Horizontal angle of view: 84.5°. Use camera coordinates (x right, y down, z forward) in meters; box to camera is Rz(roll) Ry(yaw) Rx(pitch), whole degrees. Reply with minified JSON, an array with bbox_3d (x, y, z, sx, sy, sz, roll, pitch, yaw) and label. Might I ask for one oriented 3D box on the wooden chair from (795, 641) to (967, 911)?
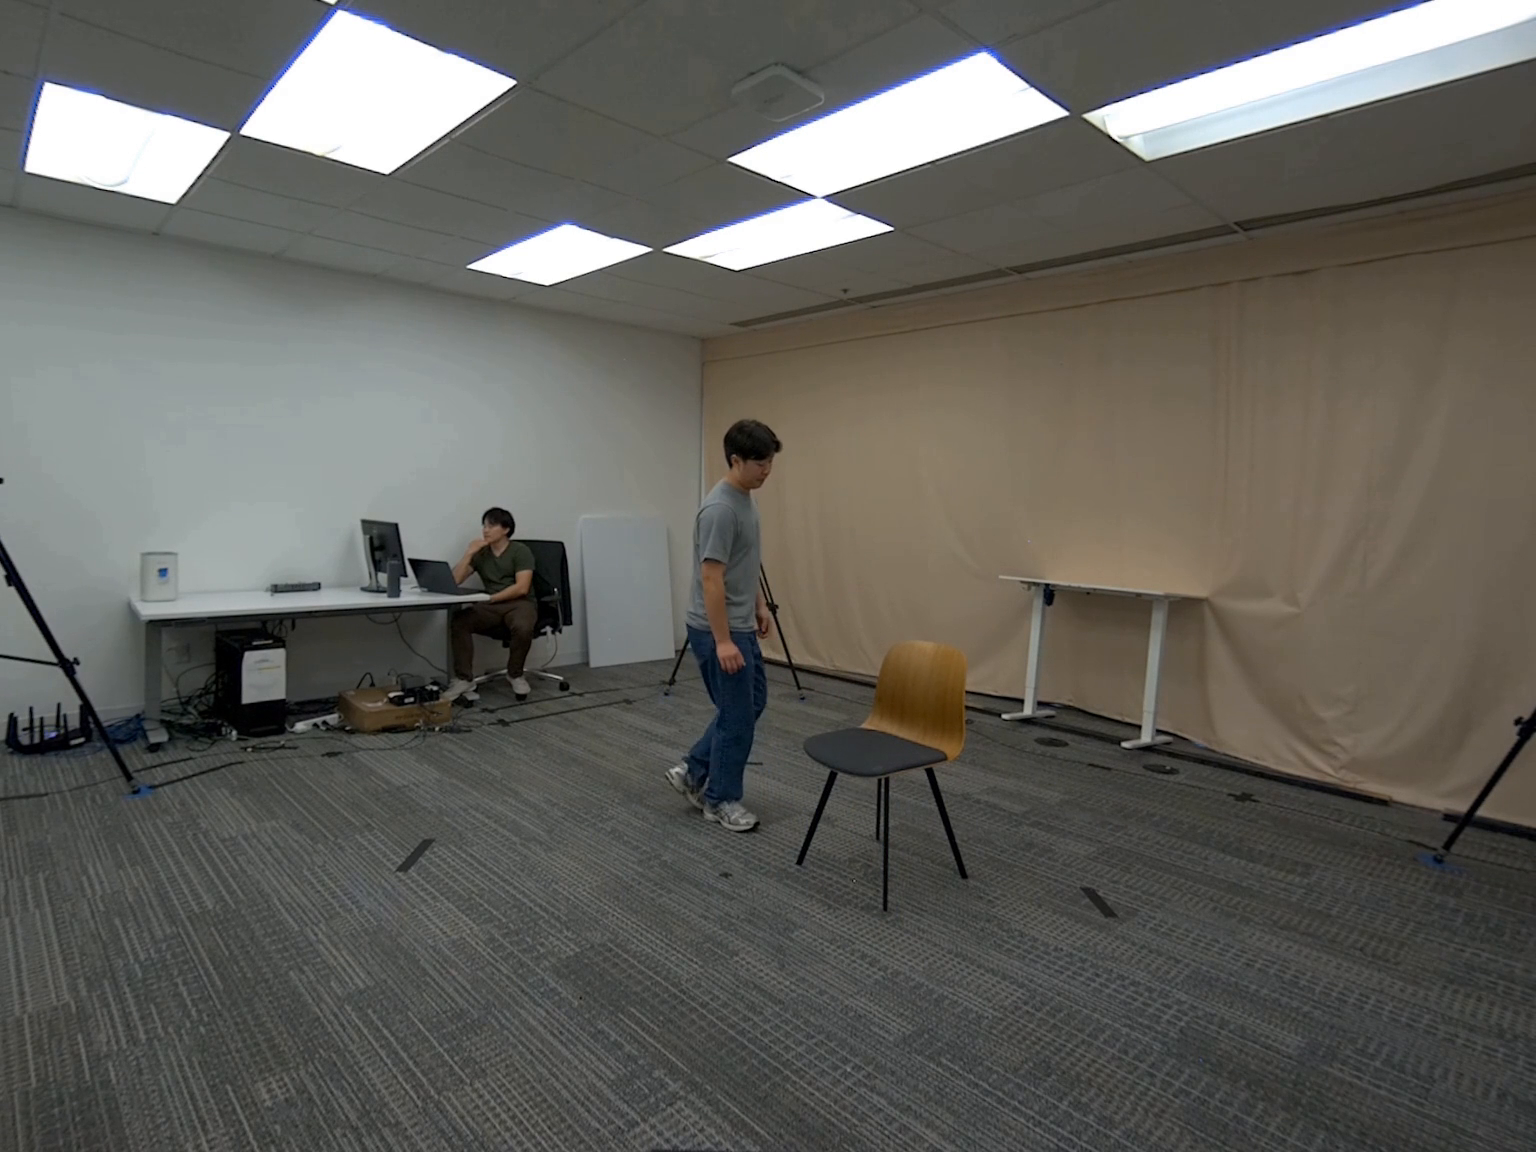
[{"bbox_3d":[0.423,0.687,3.131,0.510,0.877,0.490,5,1,-39],"label":"wooden chair"}]
